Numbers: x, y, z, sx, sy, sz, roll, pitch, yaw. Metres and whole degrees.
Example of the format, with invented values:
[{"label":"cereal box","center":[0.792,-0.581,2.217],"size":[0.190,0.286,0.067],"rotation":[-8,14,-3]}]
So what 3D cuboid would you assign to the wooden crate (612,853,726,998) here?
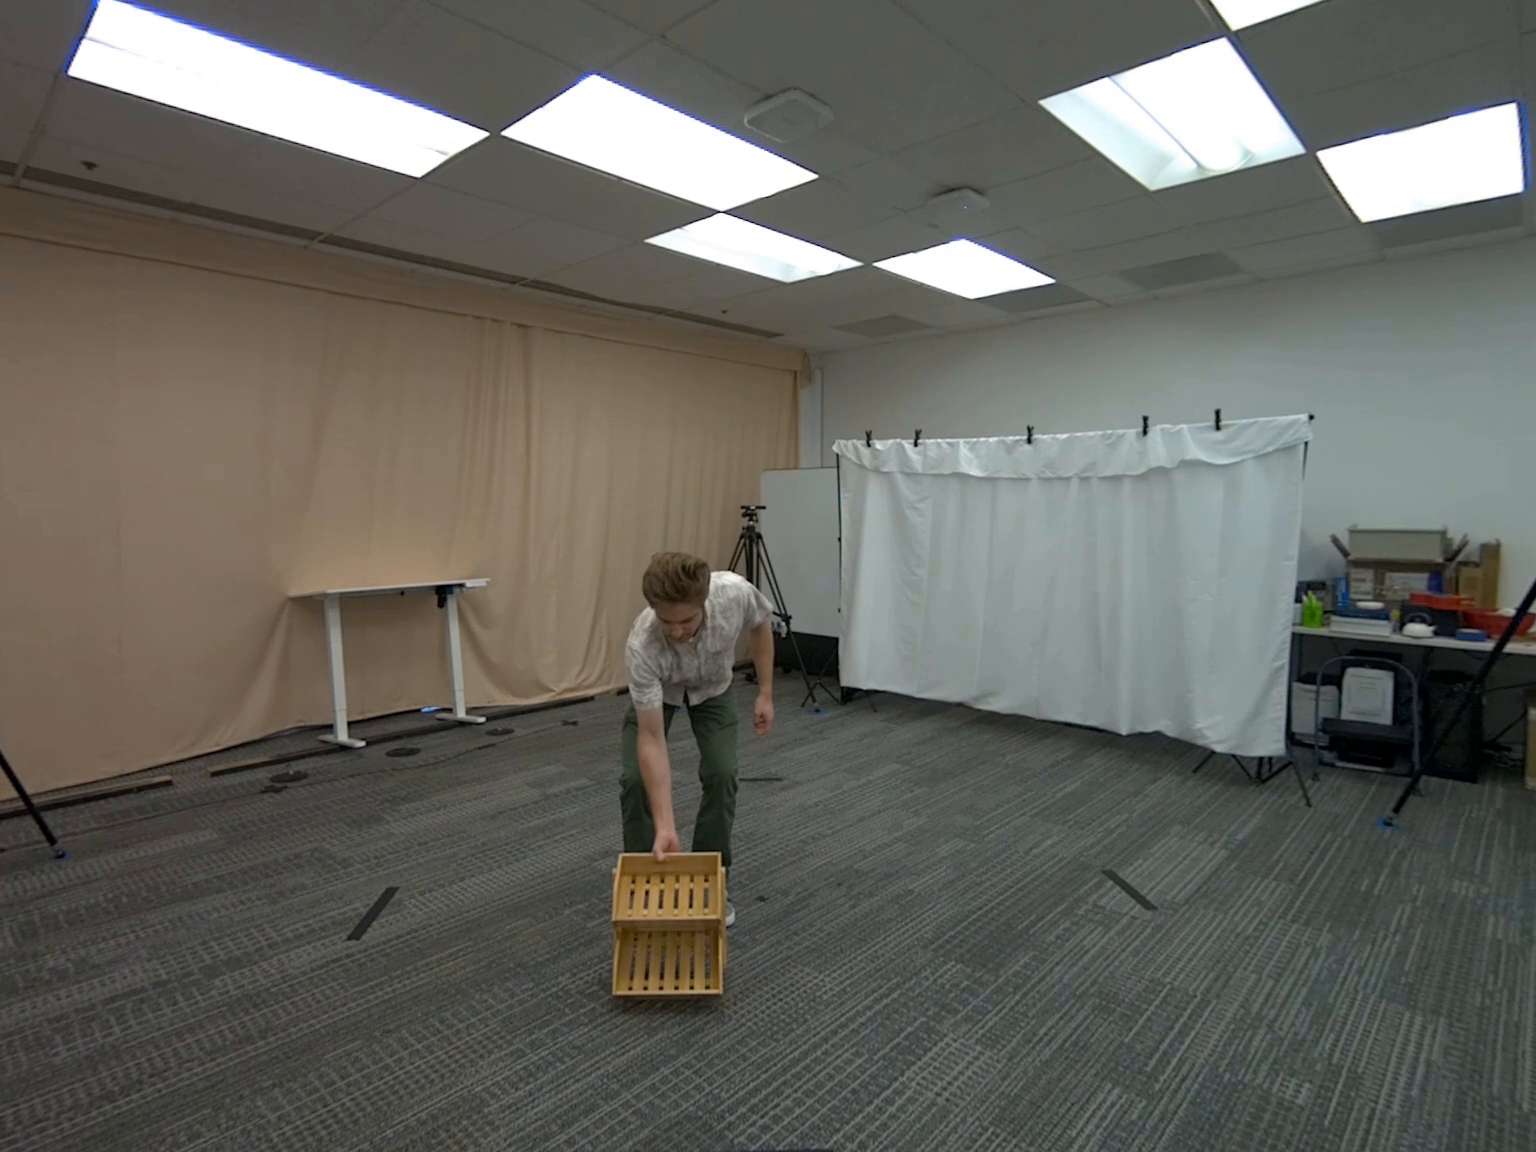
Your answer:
[{"label":"wooden crate","center":[-0.279,0.991,2.387],"size":[0.324,0.270,0.306],"rotation":[-1,21,-3]}]
